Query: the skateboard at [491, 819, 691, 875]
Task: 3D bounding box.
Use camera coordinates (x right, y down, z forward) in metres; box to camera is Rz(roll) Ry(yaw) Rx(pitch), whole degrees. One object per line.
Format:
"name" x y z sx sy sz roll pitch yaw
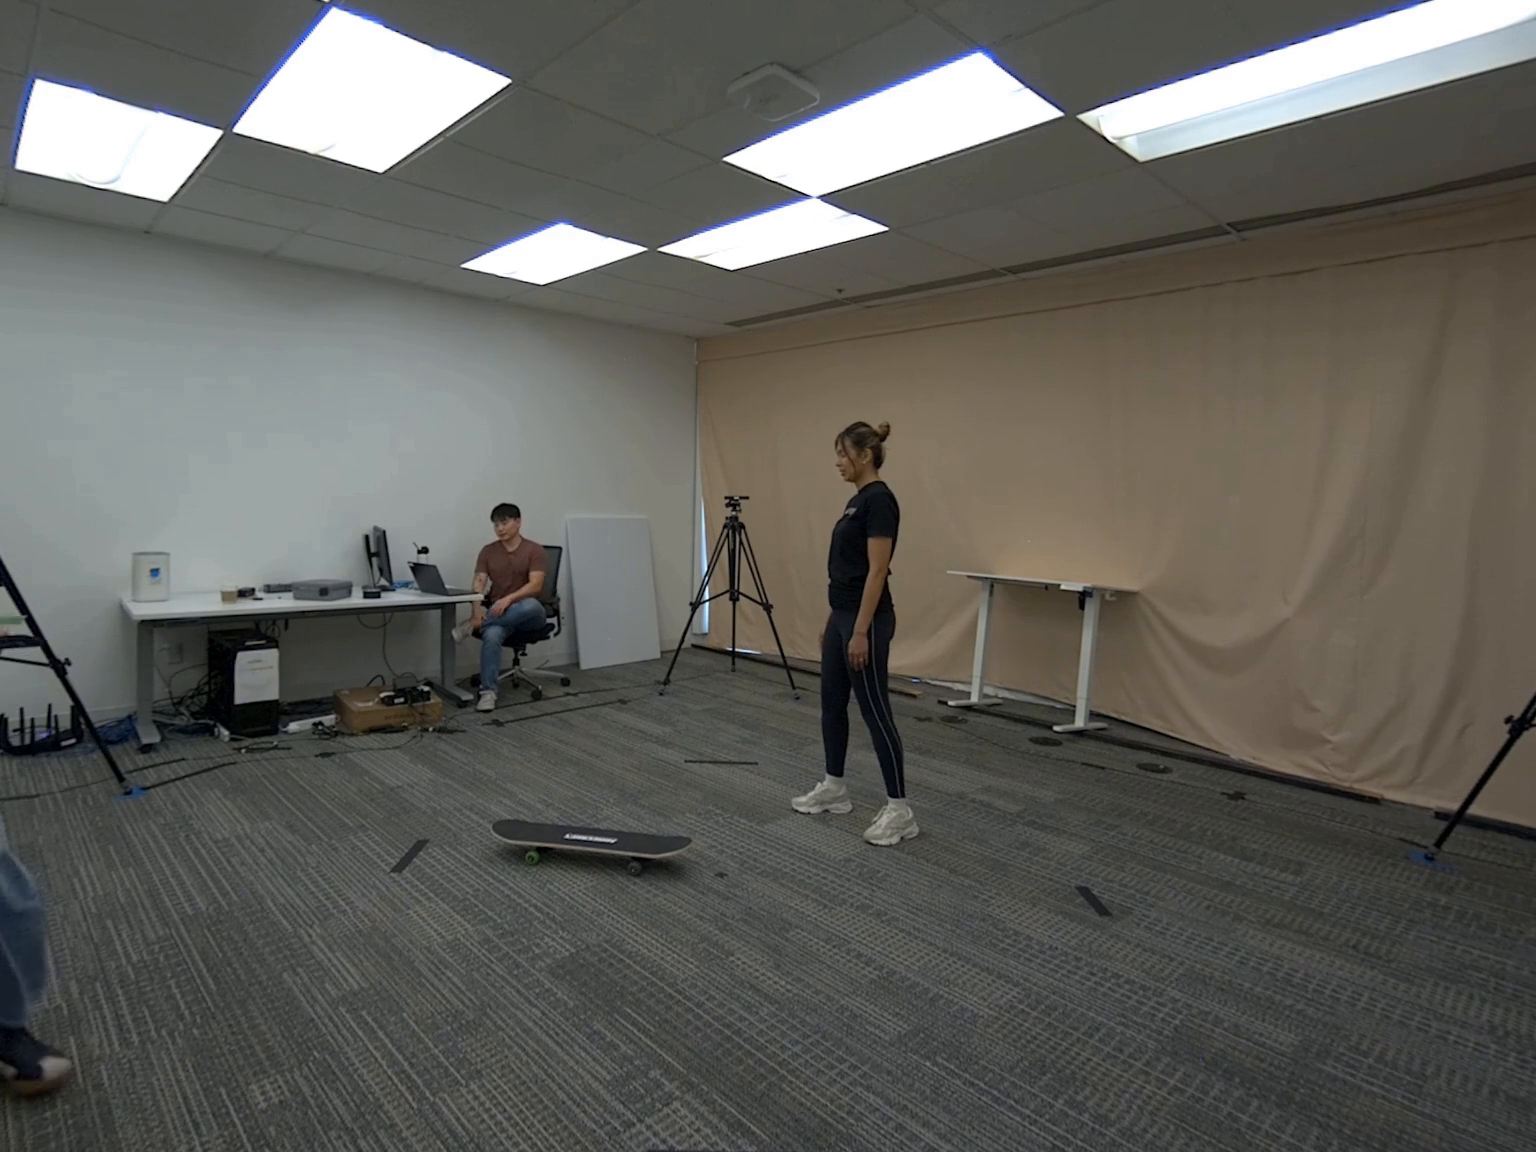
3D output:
"skateboard" -0.686 1.027 3.191 0.792 0.110 0.192 2 5 10
